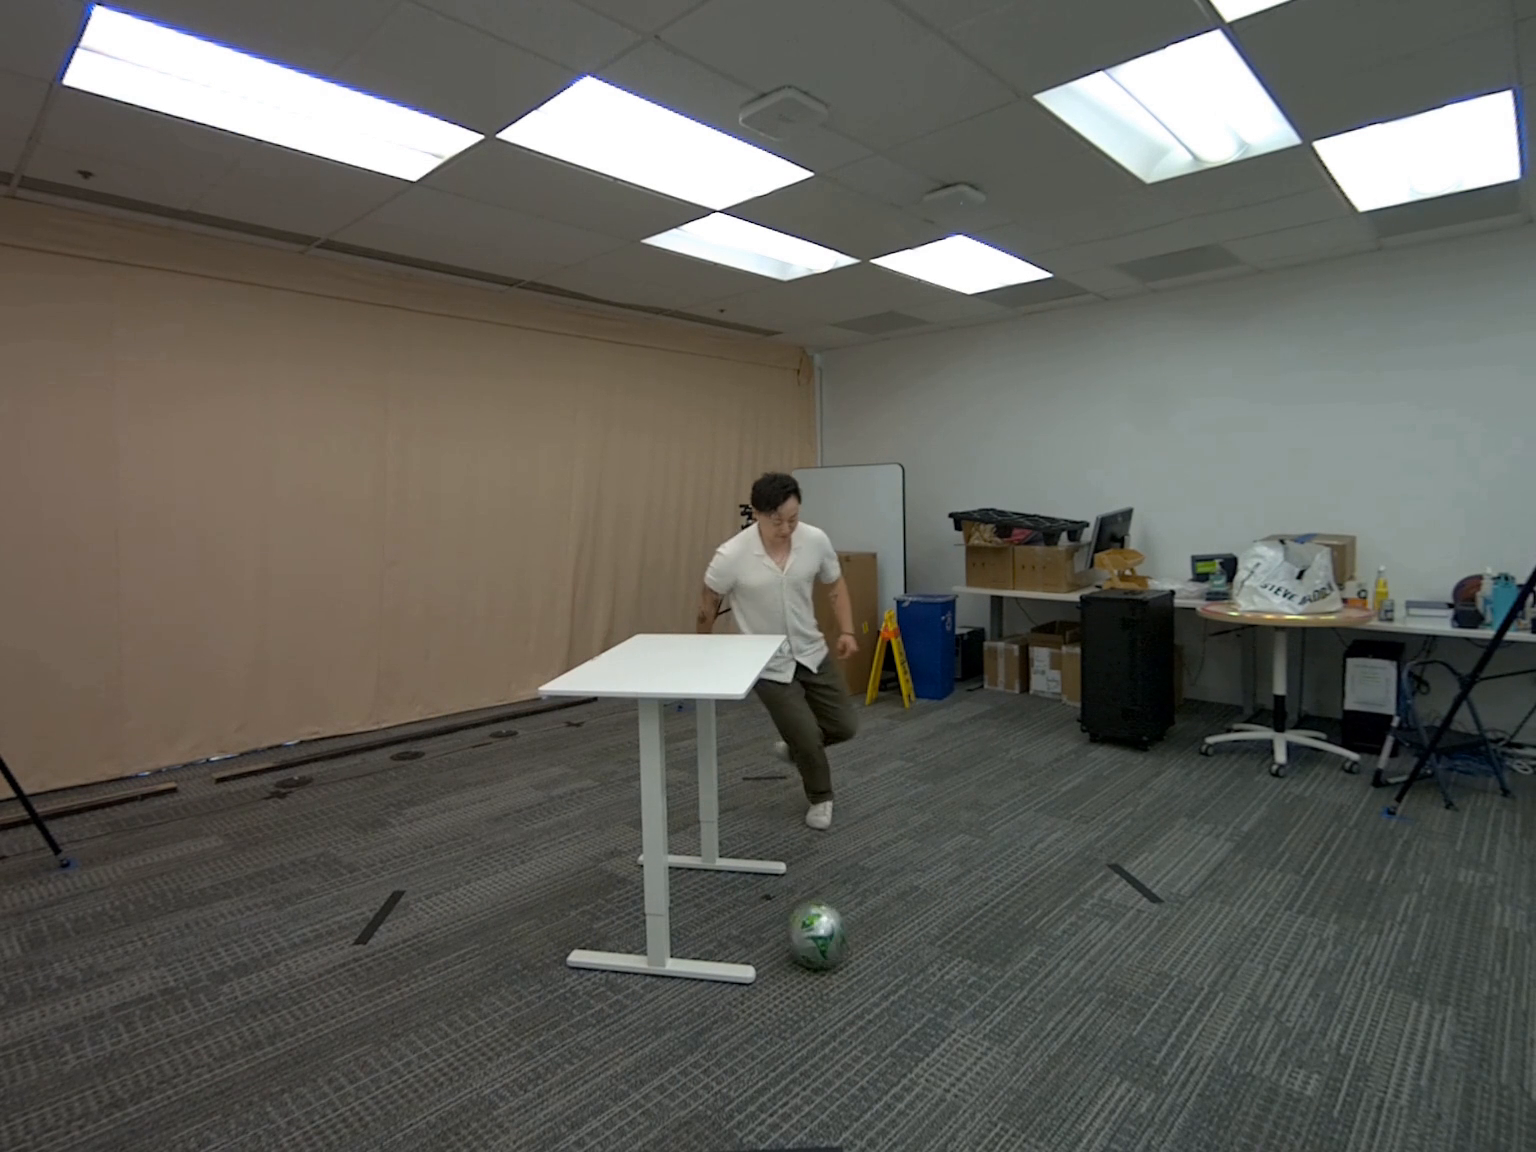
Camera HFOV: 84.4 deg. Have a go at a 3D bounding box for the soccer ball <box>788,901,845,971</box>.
[{"bbox_3d":[0.148,1.071,2.548,0.187,0.187,0.188,-1,4,-2],"label":"soccer ball"}]
